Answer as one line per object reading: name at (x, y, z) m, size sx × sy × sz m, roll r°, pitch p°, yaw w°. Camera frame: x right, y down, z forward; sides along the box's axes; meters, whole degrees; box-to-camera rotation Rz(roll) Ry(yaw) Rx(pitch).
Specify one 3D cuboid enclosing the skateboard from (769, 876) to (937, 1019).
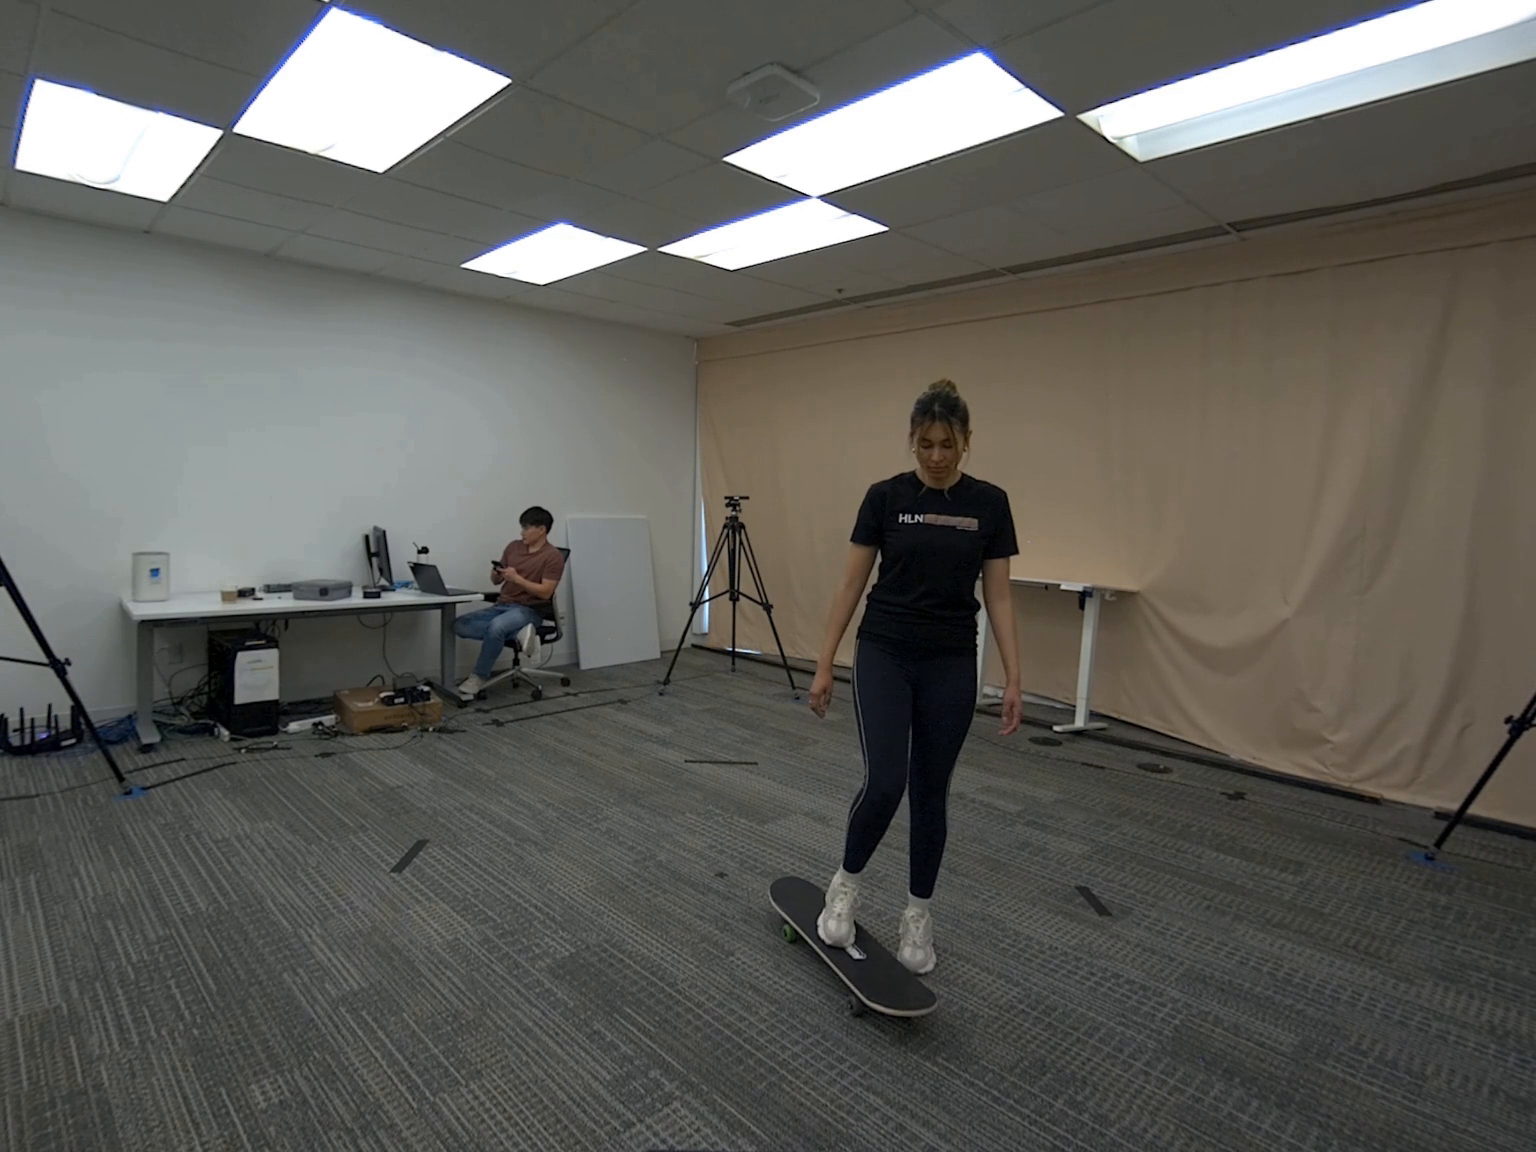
skateboard at (0.221, 1.114, 2.497) m, size 0.190 × 0.110 × 0.801 m, roll -1°, pitch 6°, yaw -25°
